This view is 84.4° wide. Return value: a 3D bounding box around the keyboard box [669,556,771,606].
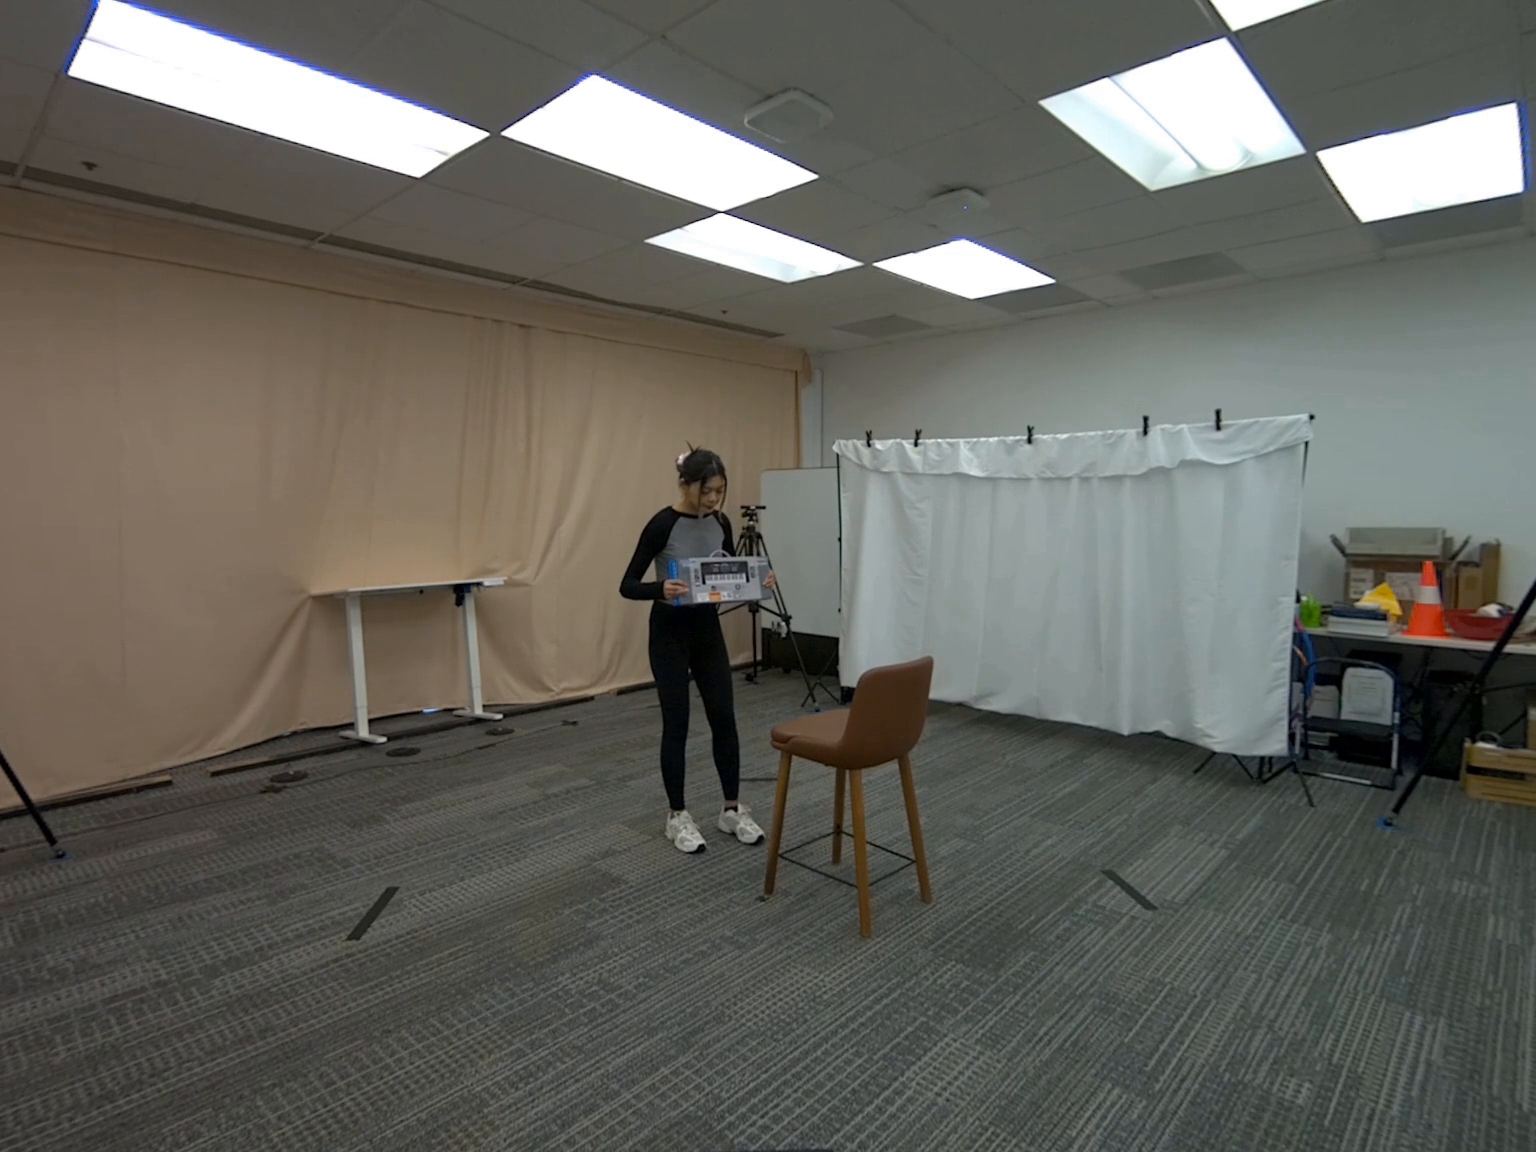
[{"bbox_3d":[-0.169,0.018,3.275,0.424,0.177,0.060,-2,-8,-35],"label":"keyboard box"}]
